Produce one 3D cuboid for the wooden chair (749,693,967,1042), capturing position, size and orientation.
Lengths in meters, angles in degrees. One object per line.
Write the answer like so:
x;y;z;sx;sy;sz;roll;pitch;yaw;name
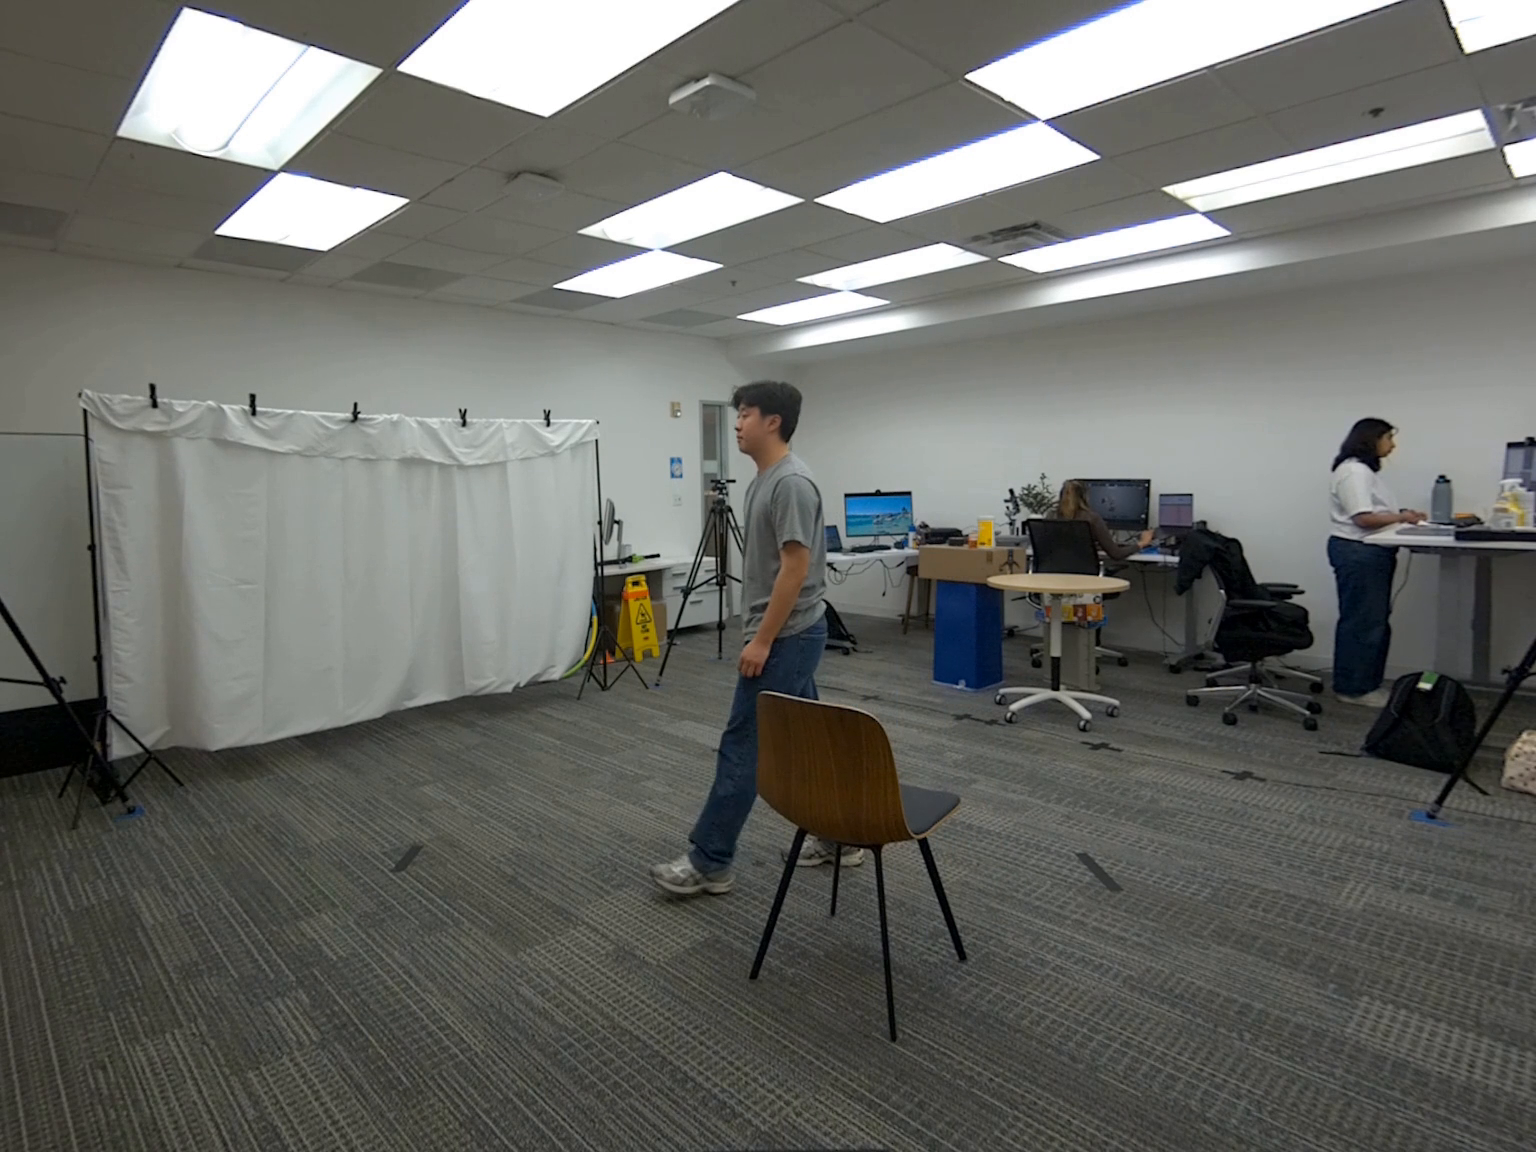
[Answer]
0.263;0.698;2.400;0.492;0.871;0.512;2;10;37;wooden chair
